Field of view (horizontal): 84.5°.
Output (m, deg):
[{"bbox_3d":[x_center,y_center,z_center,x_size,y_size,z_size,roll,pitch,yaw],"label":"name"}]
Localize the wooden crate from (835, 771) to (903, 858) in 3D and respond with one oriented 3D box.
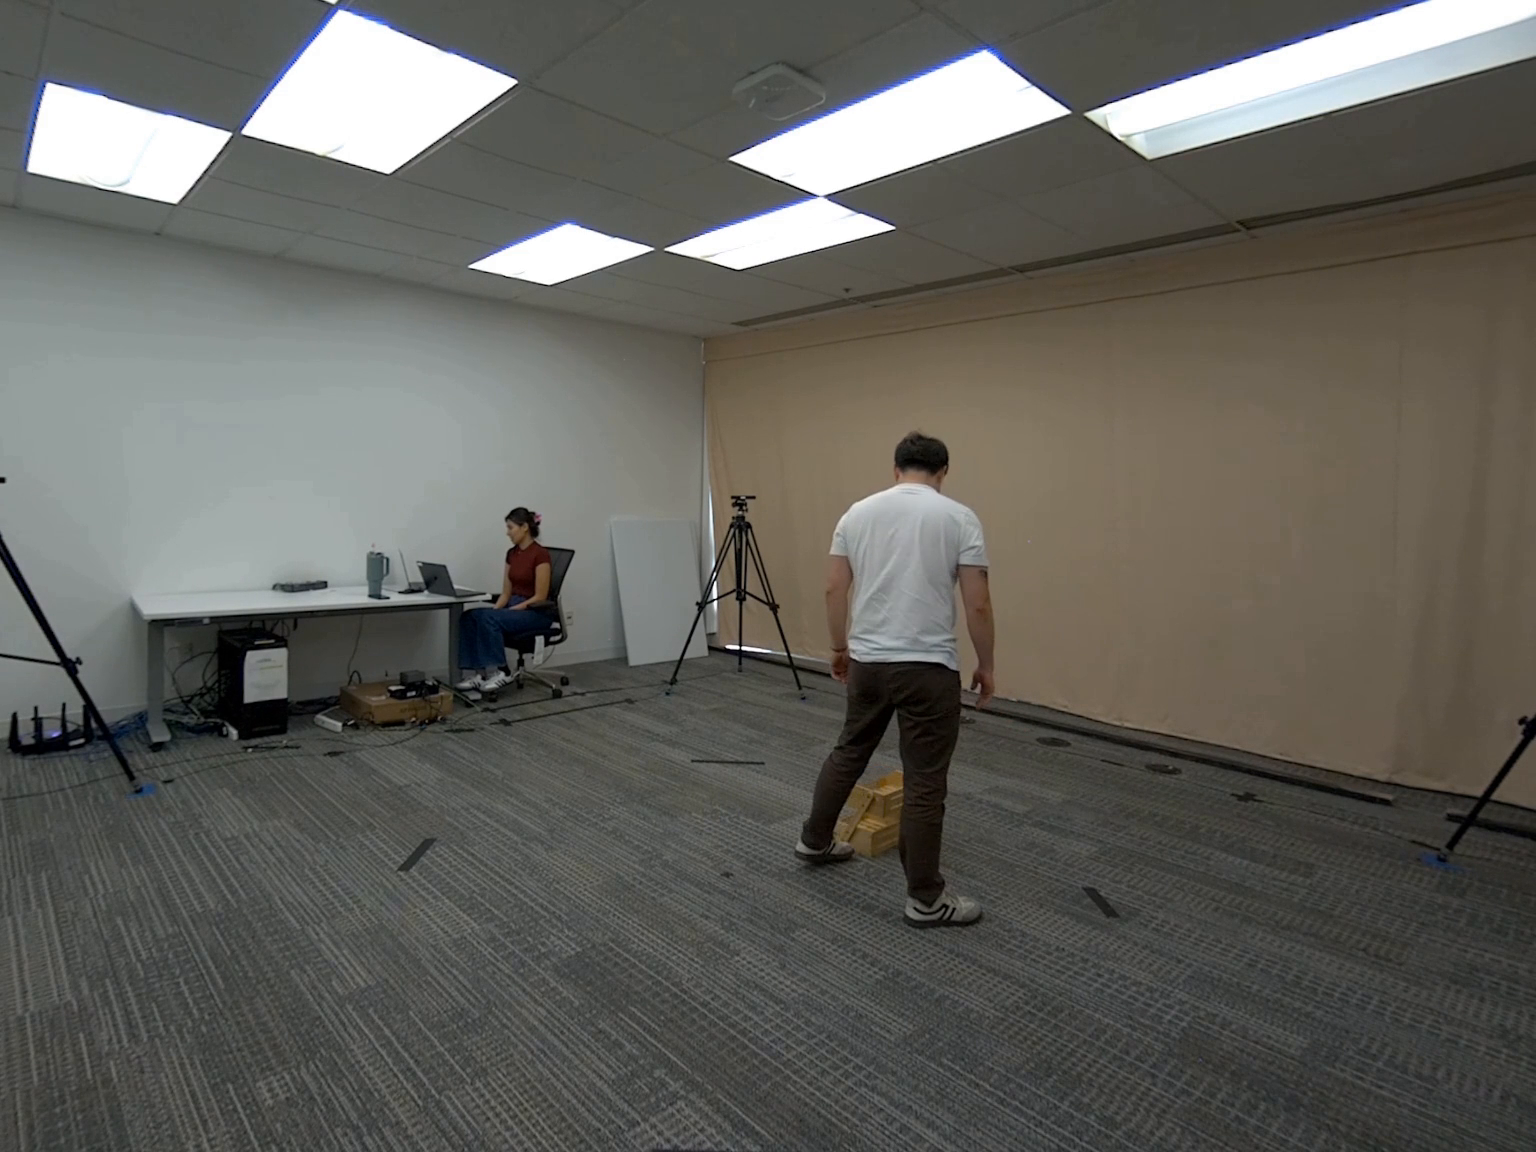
[{"bbox_3d":[0.426,0.949,3.455,0.310,0.273,0.317,6,5,43],"label":"wooden crate"}]
